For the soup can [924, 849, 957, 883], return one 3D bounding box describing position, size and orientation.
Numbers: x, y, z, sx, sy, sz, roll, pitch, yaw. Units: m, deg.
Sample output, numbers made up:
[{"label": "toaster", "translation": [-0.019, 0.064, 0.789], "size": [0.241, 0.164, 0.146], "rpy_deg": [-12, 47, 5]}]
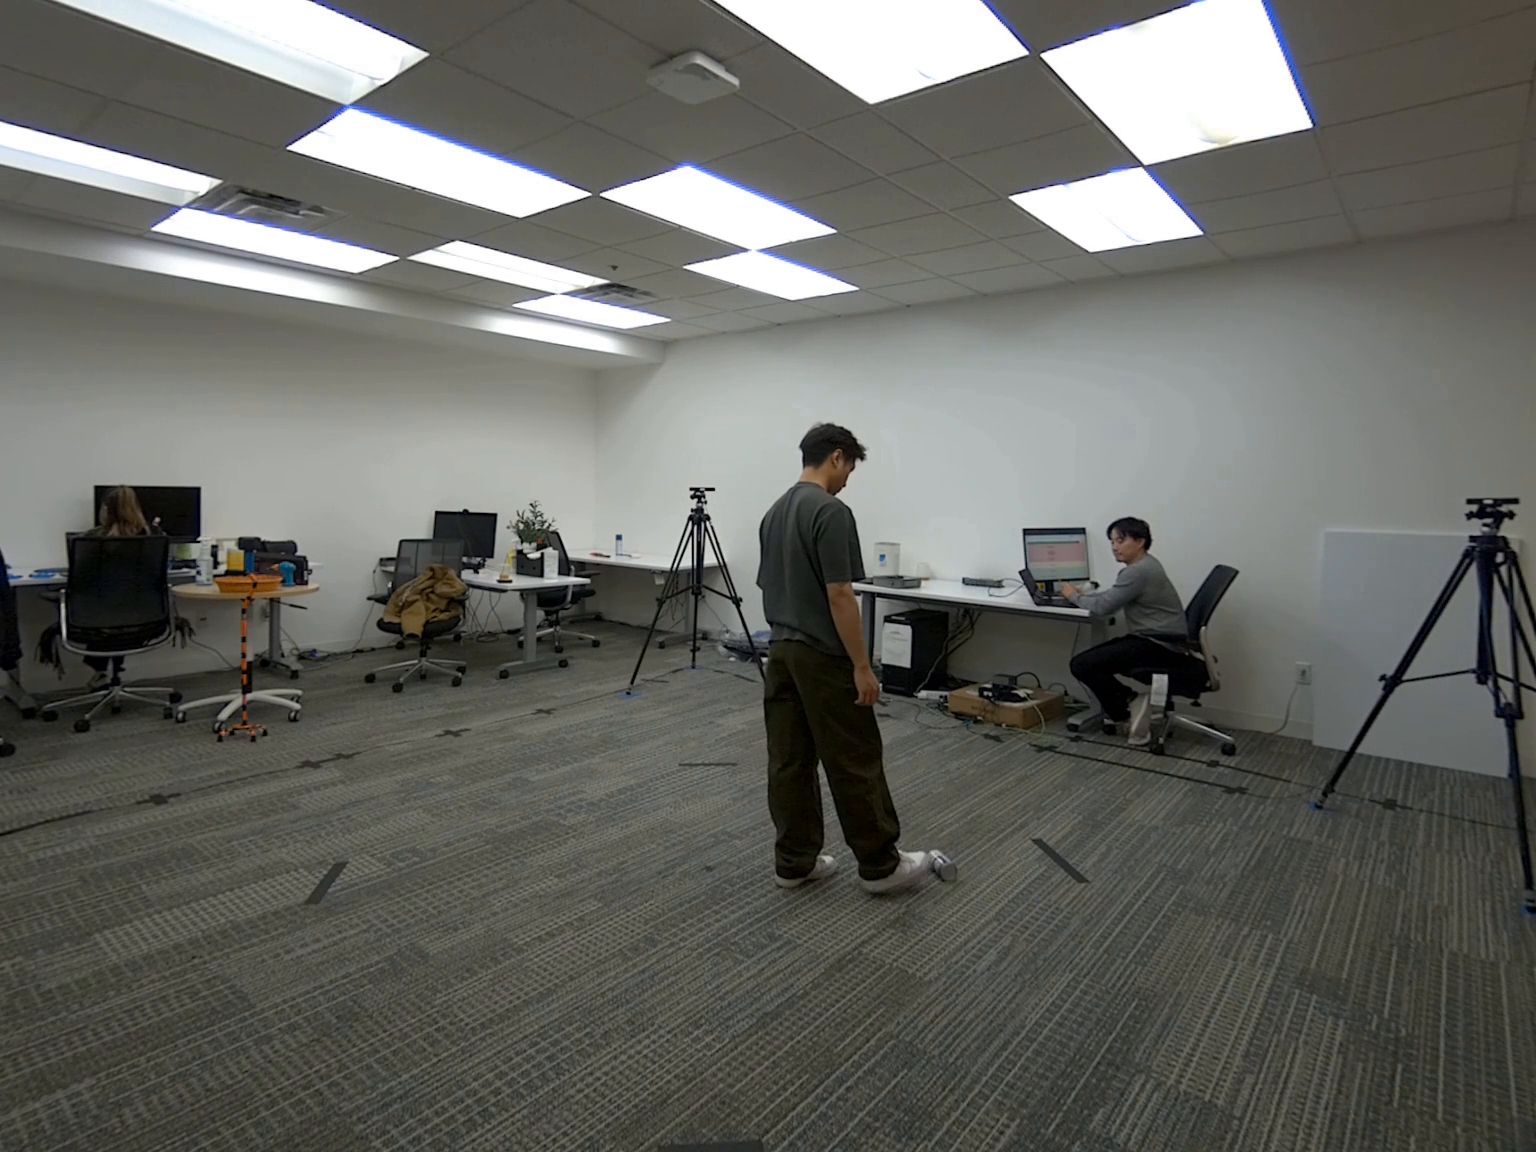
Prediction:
[{"label": "soup can", "translation": [0.628, 1.052, 3.104], "size": [0.066, 0.067, 0.124], "rpy_deg": [0, 7, -14]}]
